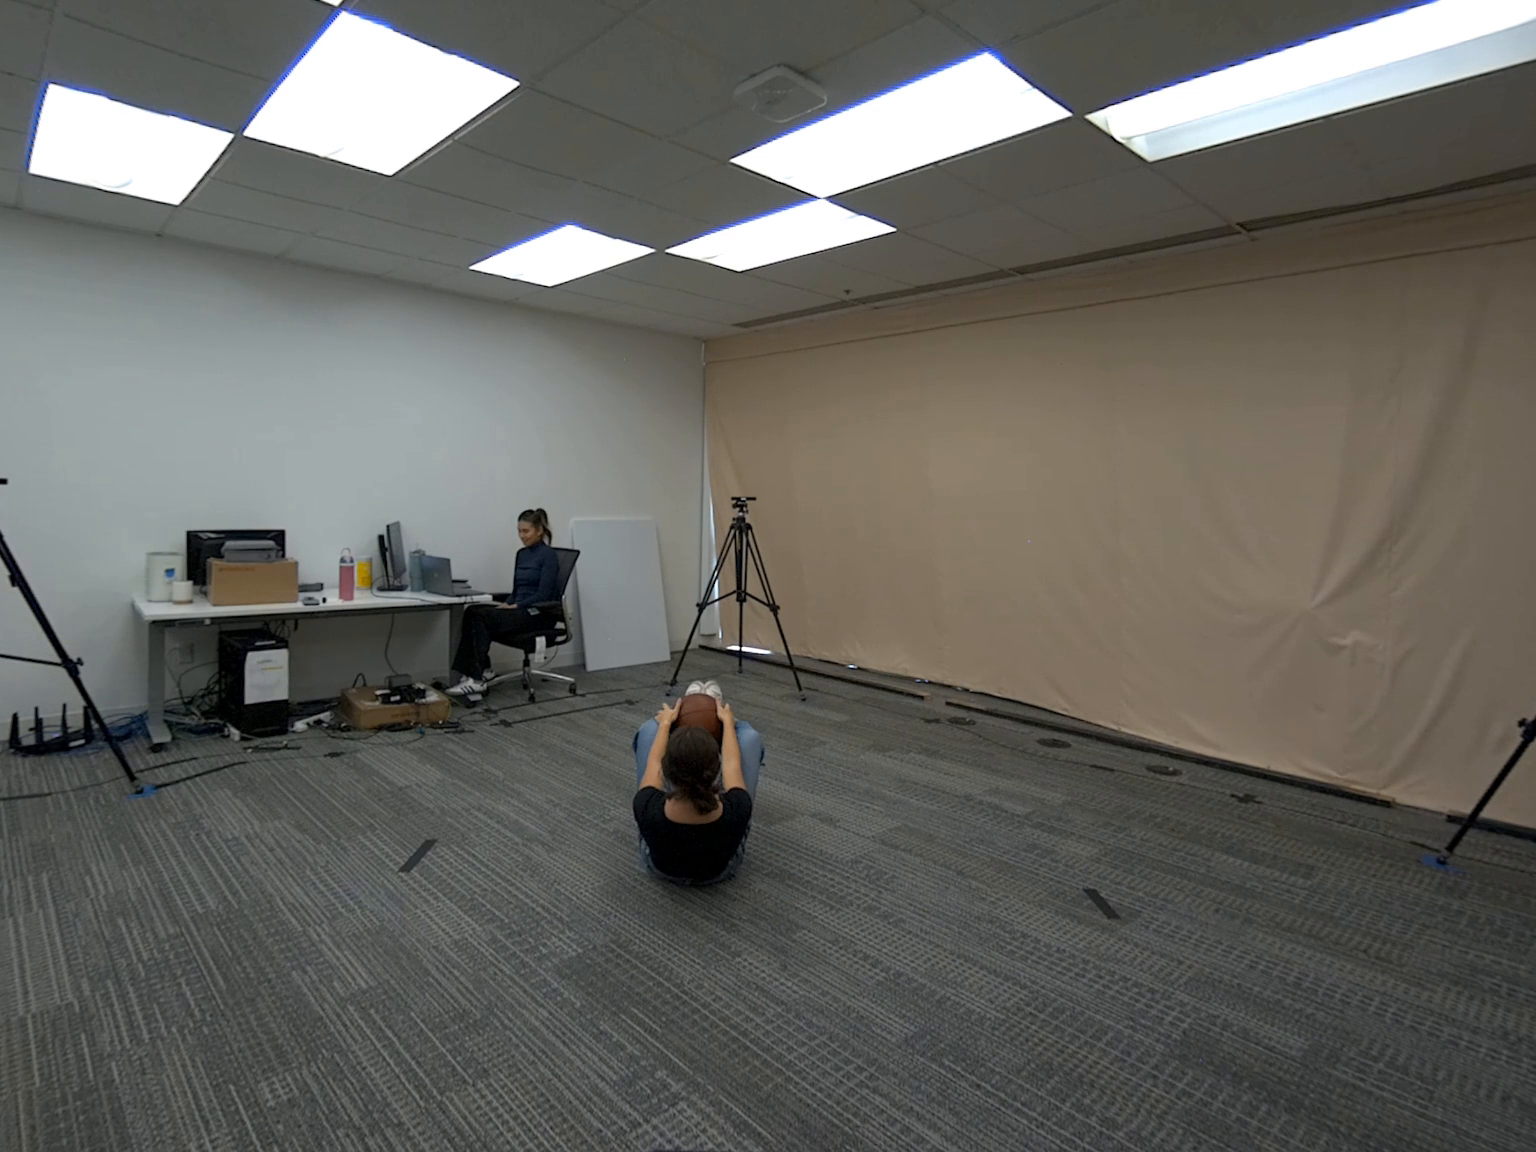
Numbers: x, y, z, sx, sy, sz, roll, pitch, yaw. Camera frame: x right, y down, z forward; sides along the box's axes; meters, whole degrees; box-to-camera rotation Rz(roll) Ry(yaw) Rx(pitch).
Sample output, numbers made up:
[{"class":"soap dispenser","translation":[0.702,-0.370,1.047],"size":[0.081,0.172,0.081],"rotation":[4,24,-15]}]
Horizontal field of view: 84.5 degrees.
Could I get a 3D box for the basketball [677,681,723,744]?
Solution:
[{"class":"basketball","translation":[-0.290,0.593,3.415],"size":[0.236,0.235,0.237],"rotation":[1,4,-1]}]
